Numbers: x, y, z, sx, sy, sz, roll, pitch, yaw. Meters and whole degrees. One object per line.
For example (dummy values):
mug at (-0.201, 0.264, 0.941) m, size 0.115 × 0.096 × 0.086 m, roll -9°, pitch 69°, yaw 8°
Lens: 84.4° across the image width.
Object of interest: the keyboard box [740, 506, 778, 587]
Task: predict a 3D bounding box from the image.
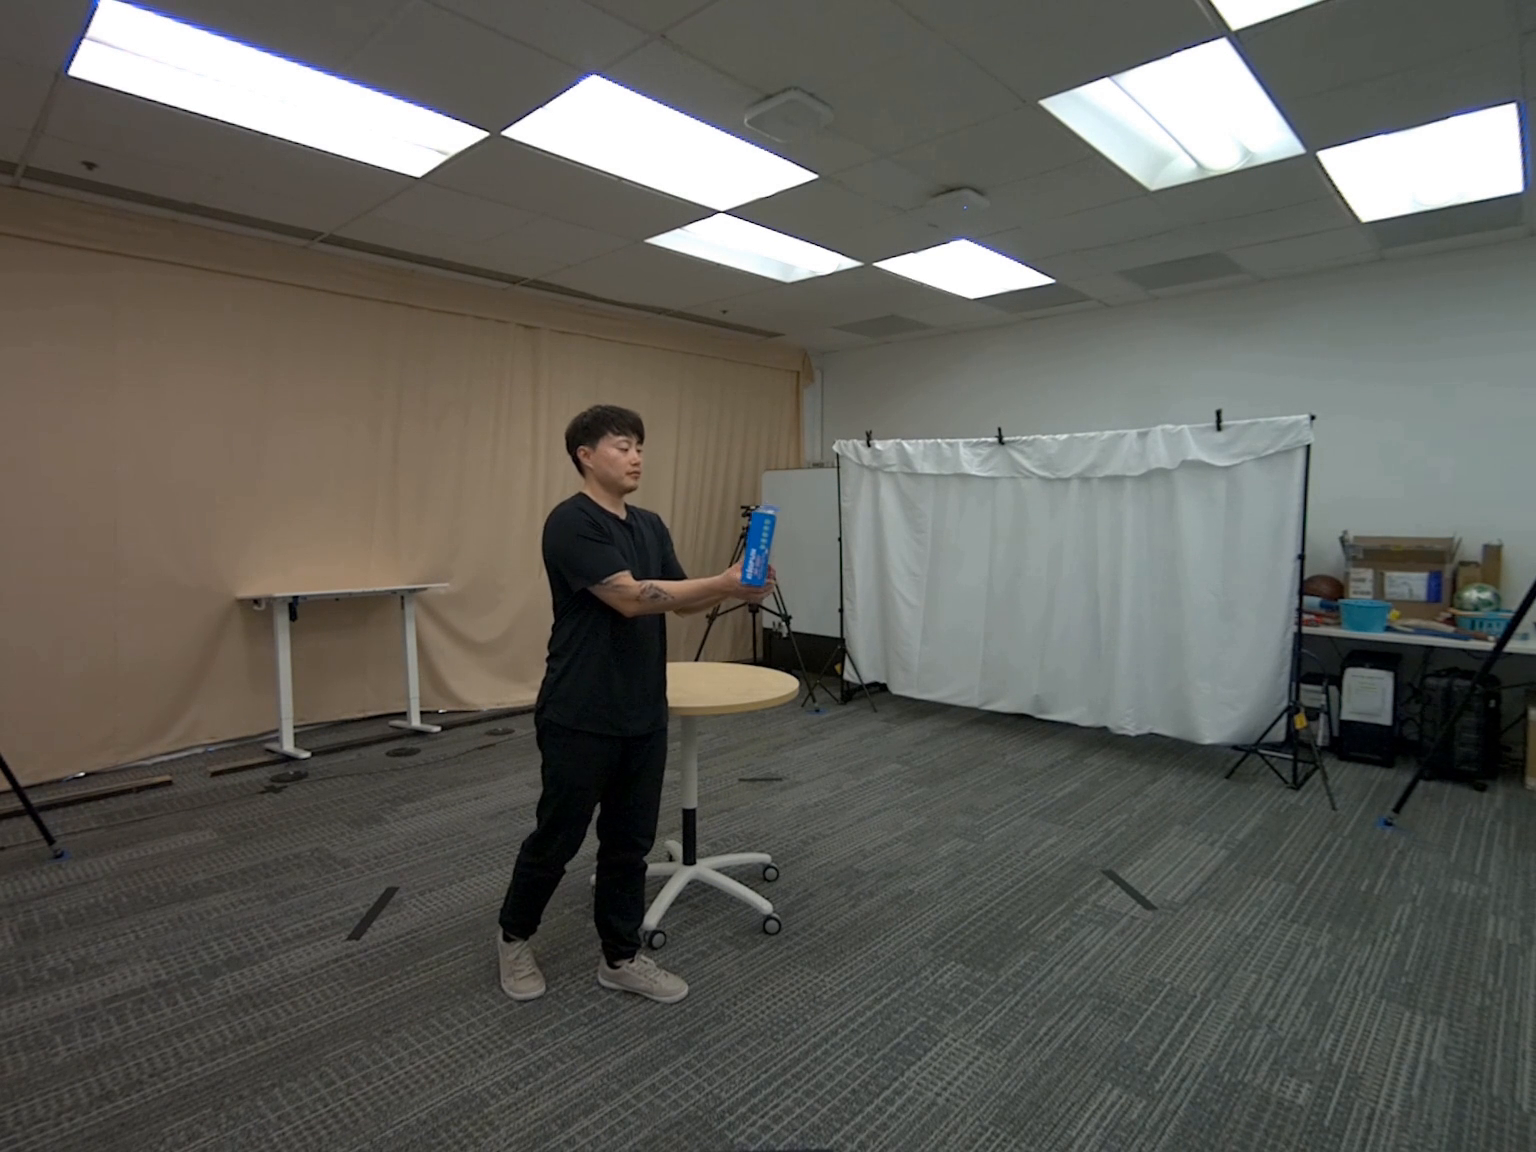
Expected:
keyboard box at (-0.009, -0.091, 2.169) m, size 0.059 × 0.175 × 0.436 m, roll 9°, pitch 6°, yaw 1°
